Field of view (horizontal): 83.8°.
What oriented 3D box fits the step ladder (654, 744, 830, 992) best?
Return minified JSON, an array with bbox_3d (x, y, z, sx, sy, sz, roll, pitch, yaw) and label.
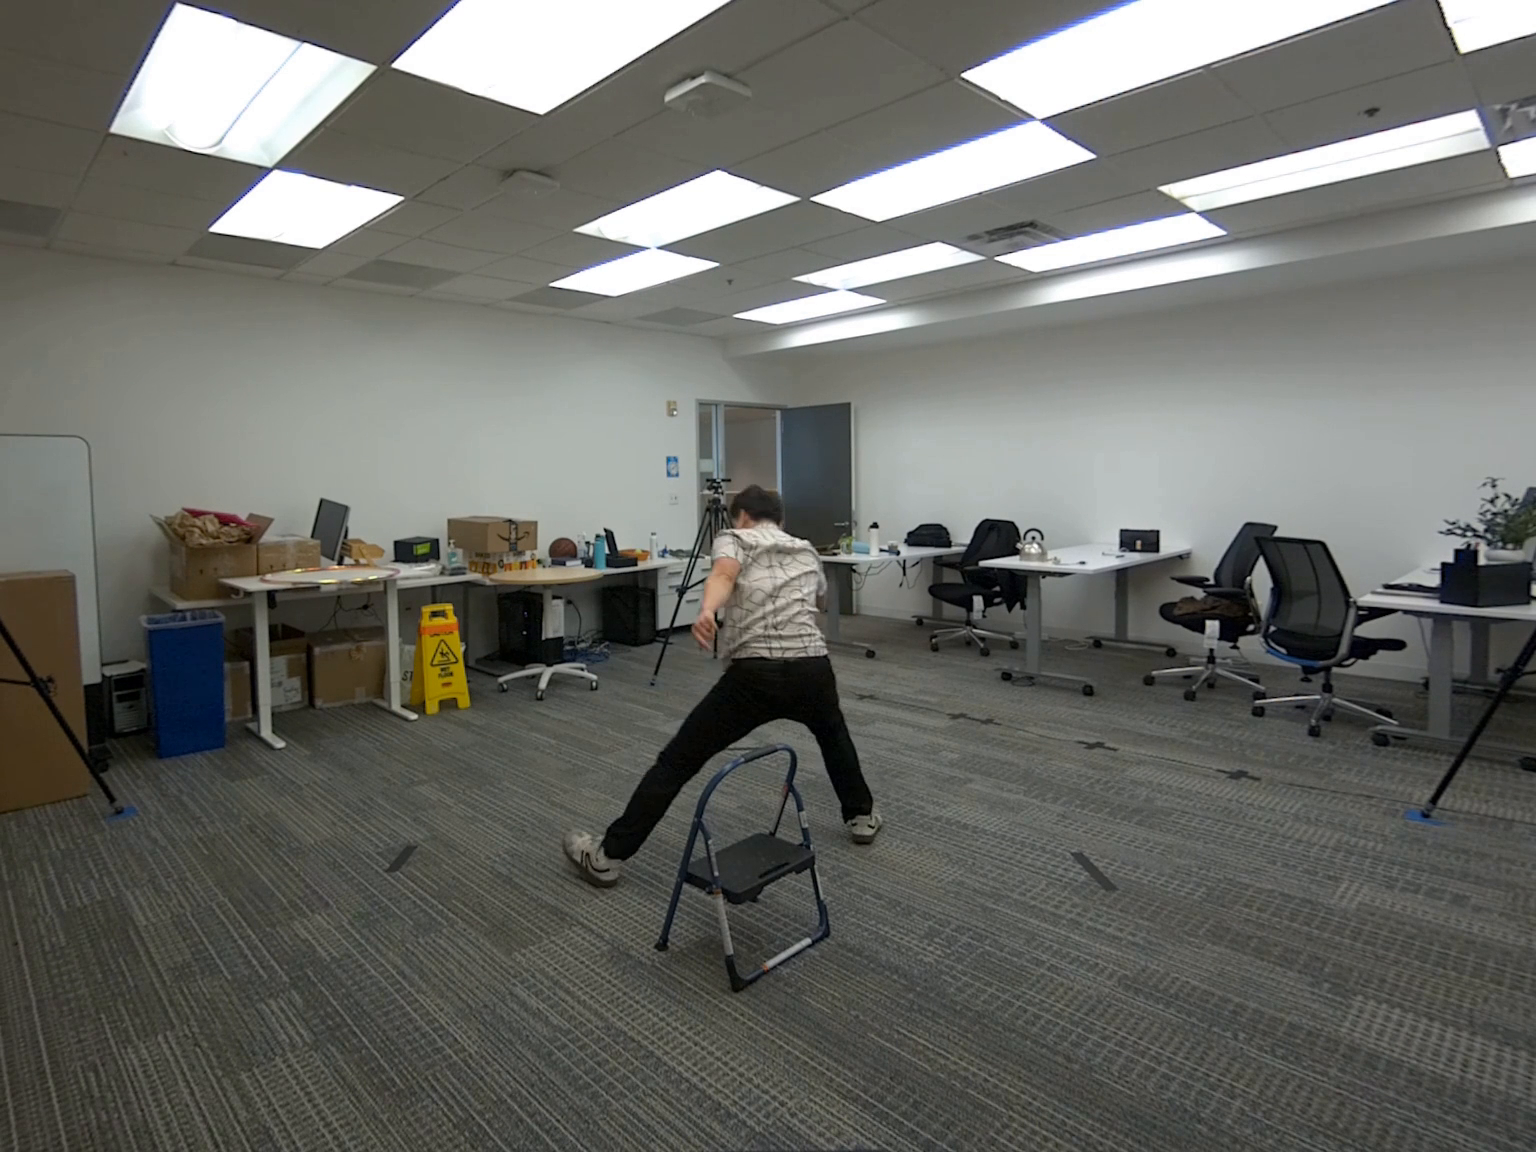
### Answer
[{"bbox_3d":[-0.074,0.806,2.567,0.360,0.604,0.419,3,6,43],"label":"step ladder"}]
